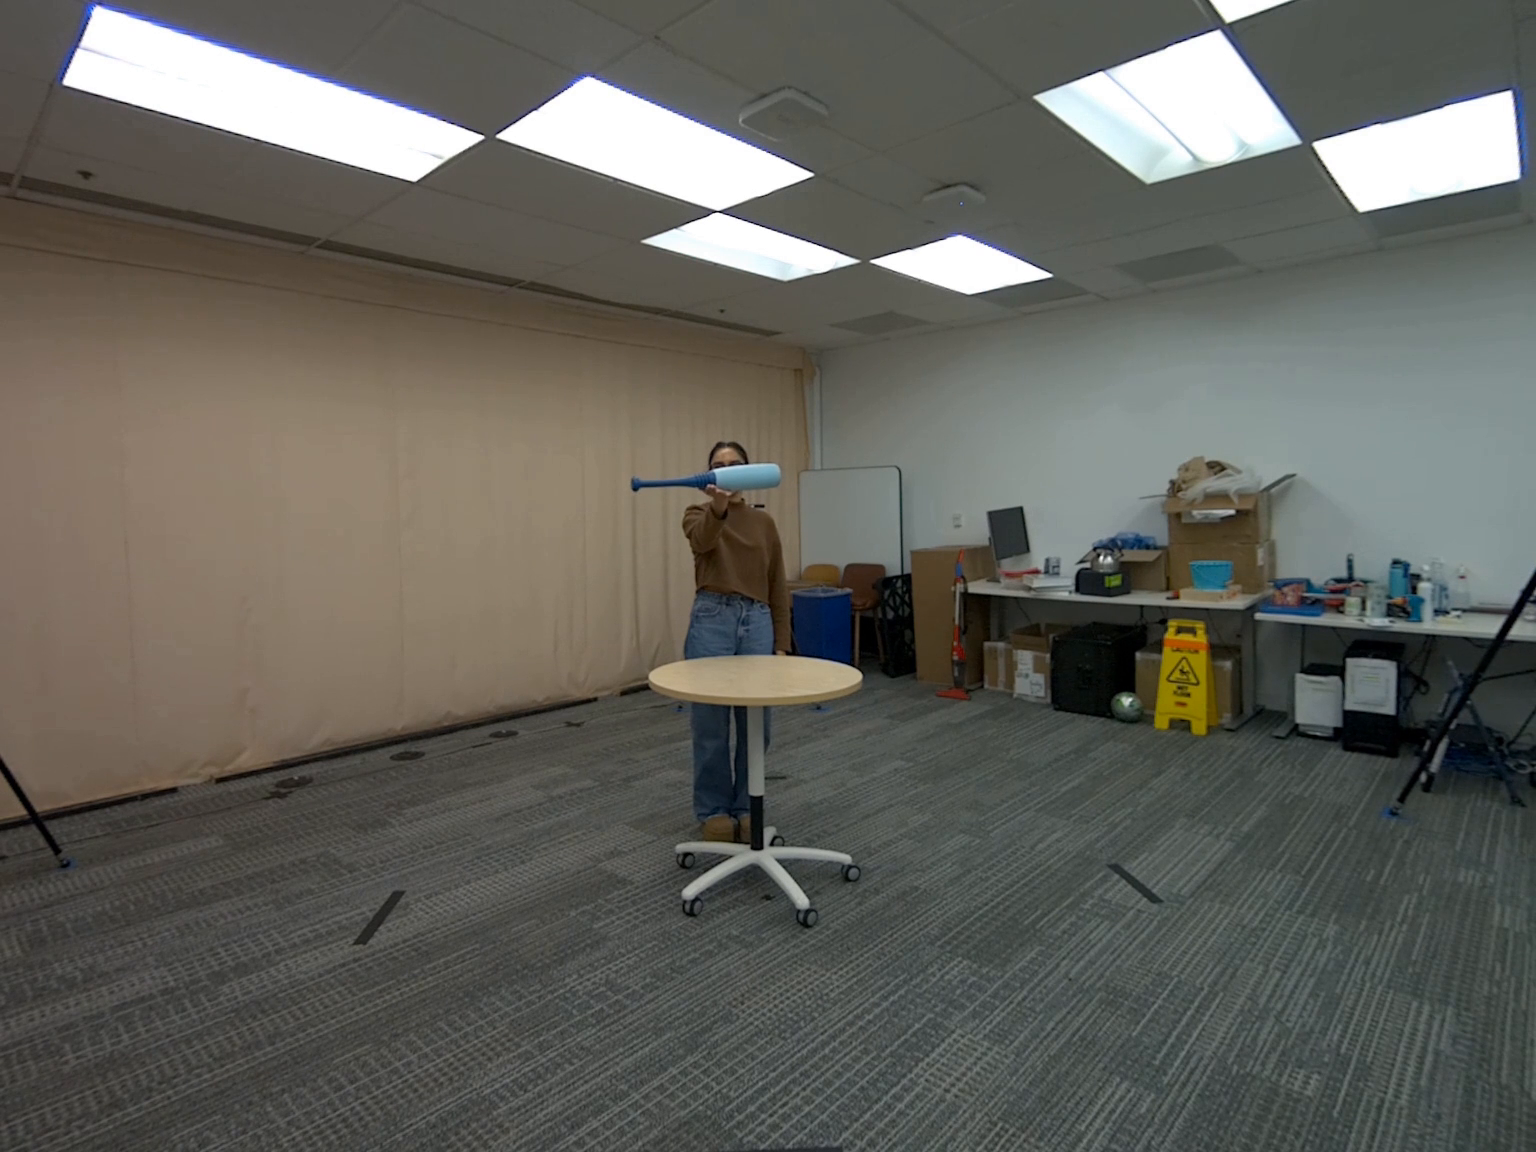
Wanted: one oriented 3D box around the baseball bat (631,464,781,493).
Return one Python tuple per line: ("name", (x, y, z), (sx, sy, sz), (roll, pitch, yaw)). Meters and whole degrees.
("baseball bat", (-0.206, -0.331, 2.927), (0.532, 0.089, 0.091), (-6, 6, -21))
